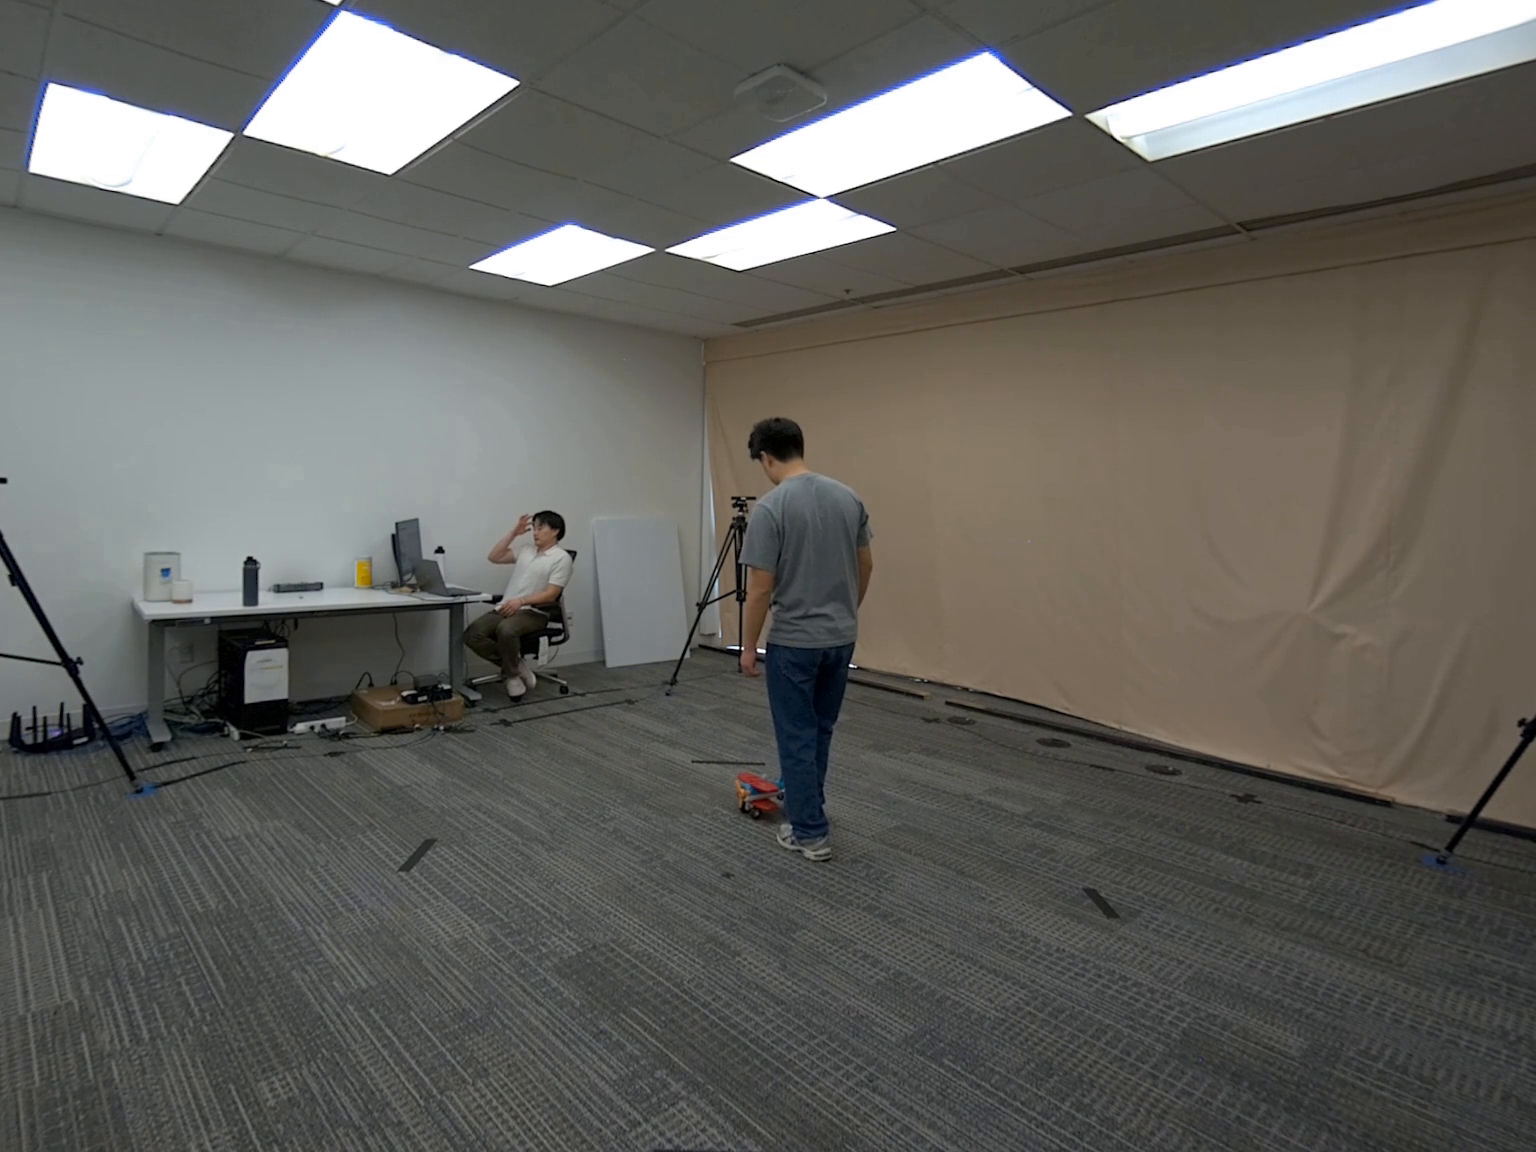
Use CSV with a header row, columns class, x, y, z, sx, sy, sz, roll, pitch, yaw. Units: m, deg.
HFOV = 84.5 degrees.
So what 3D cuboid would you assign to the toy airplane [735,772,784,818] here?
class,x,y,z,sx,sy,sz,roll,pitch,yaw
toy airplane,-0.036,0.961,3.752,0.256,0.155,0.257,-1,14,27
